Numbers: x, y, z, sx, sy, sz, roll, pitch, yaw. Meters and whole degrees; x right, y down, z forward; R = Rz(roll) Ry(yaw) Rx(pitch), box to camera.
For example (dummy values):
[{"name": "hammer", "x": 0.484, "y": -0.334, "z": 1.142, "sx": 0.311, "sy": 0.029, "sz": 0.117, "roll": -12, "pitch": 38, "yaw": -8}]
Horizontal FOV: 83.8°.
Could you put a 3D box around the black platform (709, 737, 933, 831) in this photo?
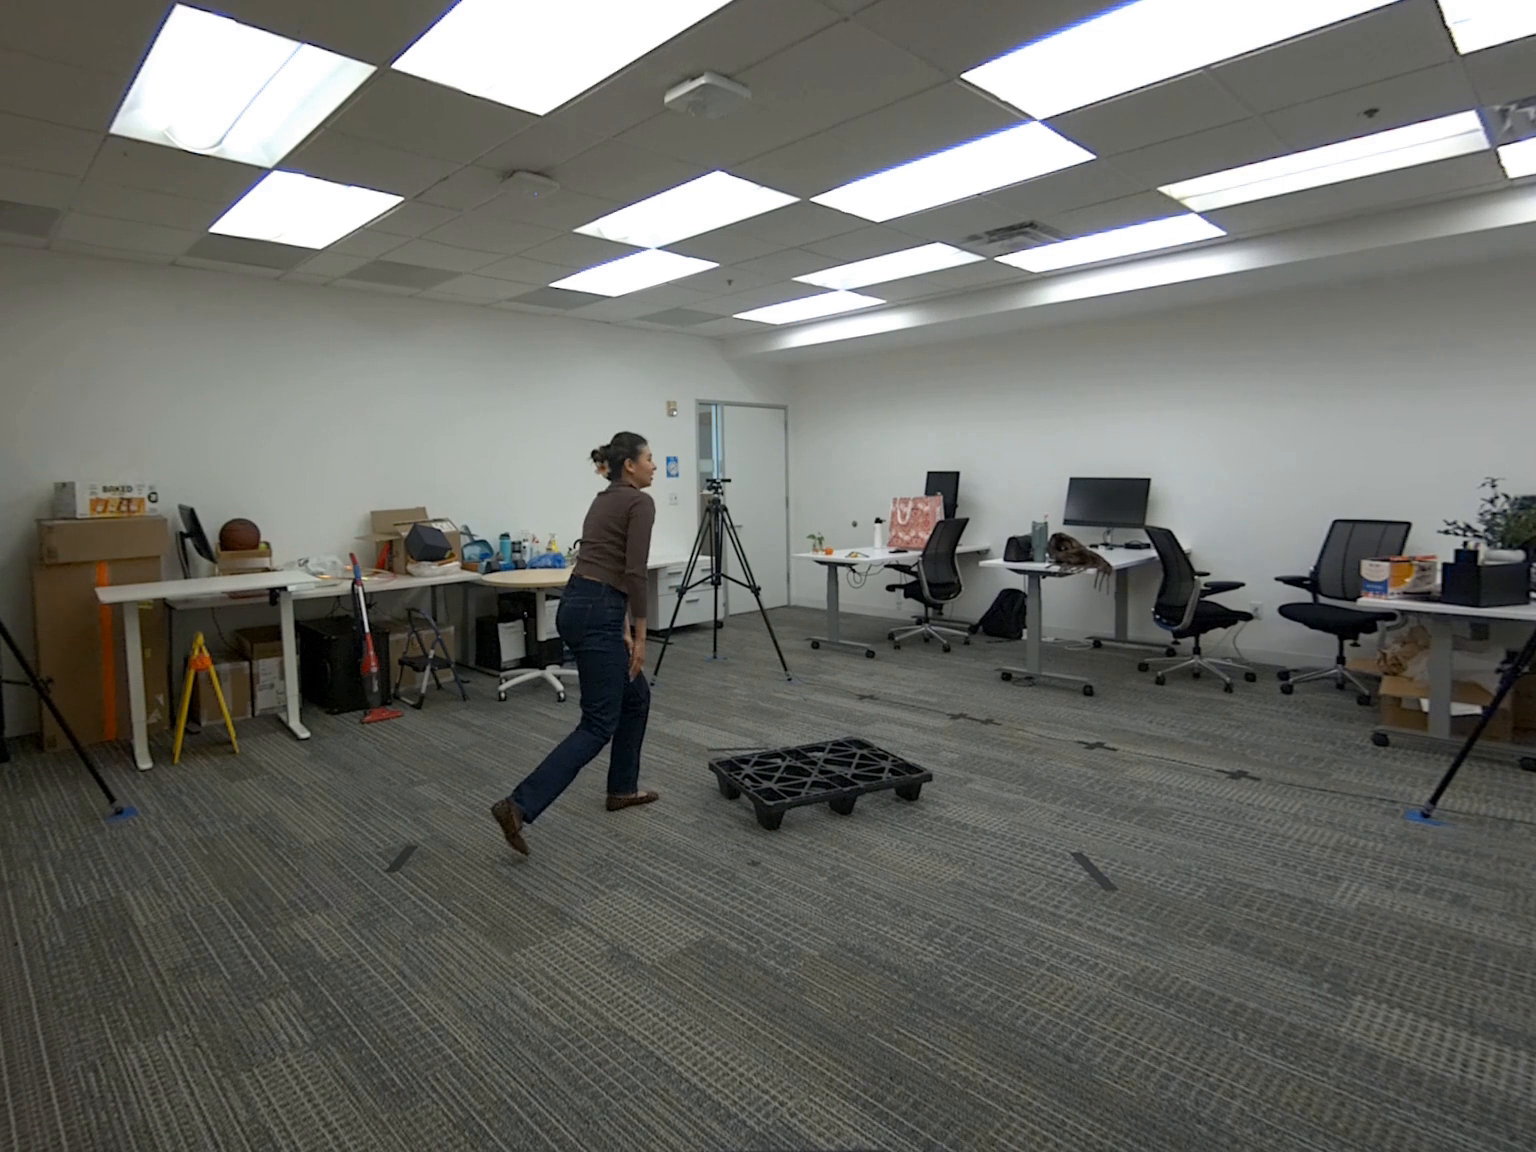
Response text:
[{"name": "black platform", "x": 0.212, "y": 0.901, "z": 3.752, "sx": 0.789, "sy": 0.143, "sz": 0.620, "roll": -4, "pitch": 6, "yaw": -26}]
